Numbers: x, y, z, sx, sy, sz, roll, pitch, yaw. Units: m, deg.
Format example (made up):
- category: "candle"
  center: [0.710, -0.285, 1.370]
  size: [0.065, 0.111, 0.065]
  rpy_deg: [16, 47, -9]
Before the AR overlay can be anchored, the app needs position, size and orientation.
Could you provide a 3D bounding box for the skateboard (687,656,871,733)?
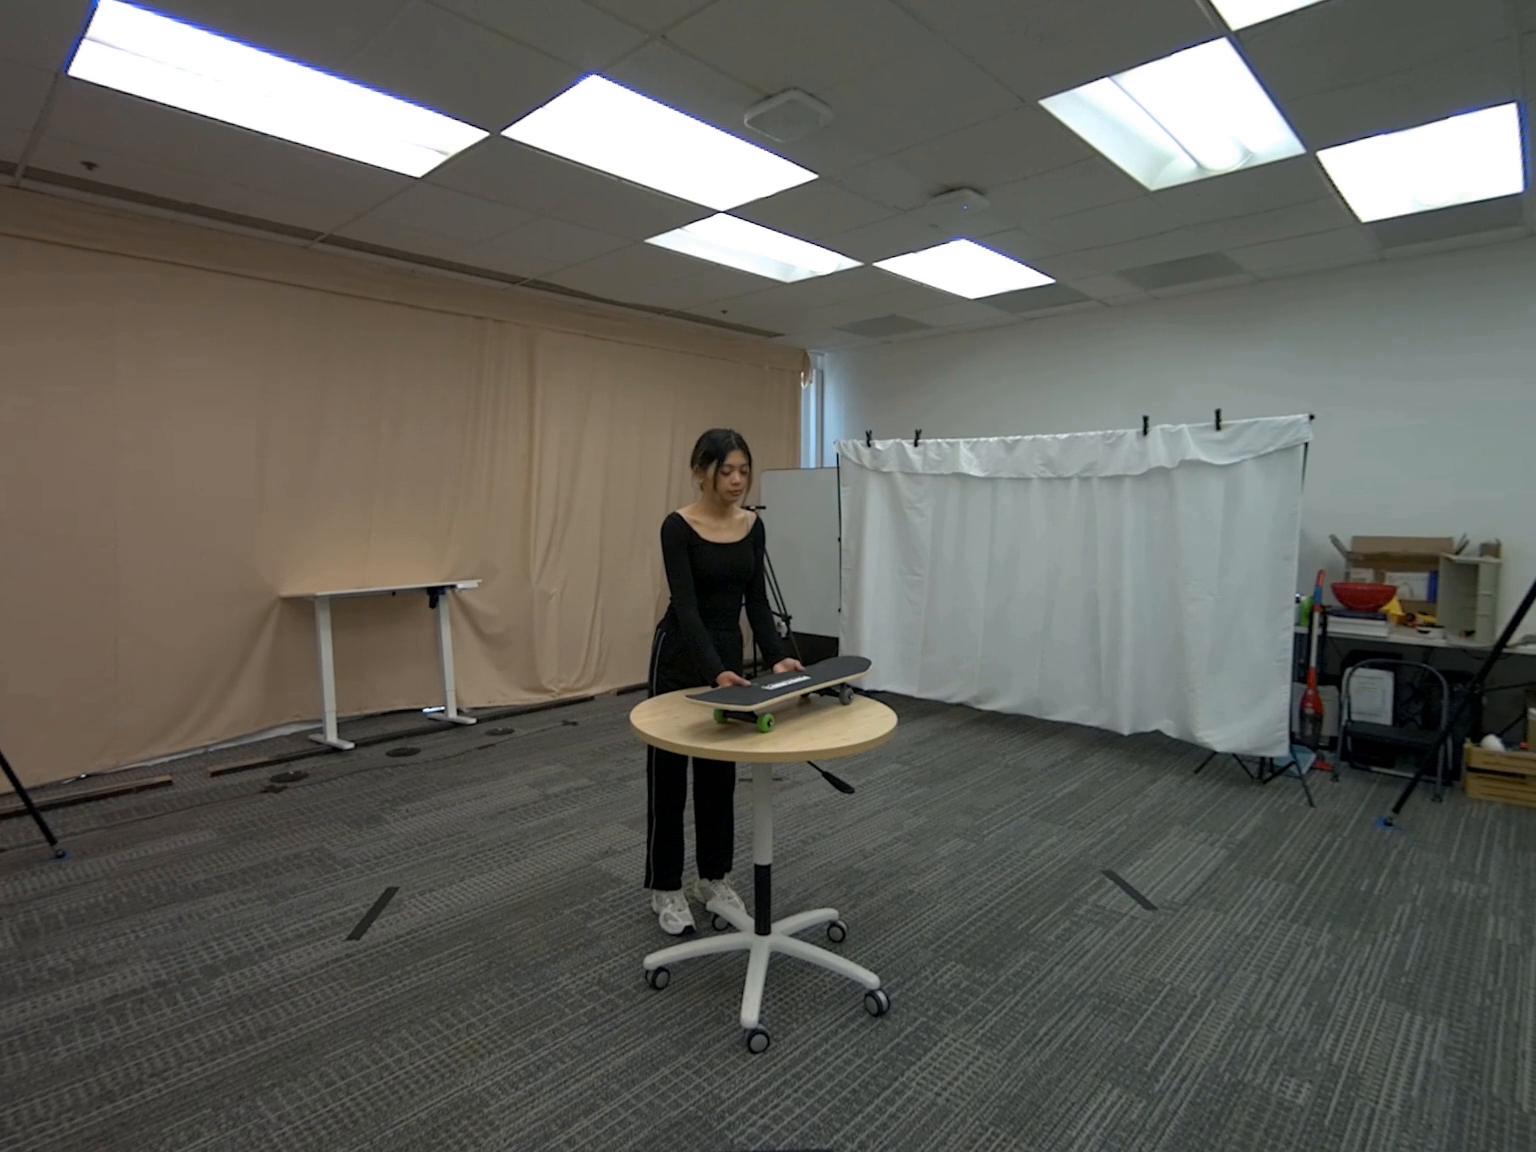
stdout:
- category: "skateboard"
  center: [0.054, 0.349, 2.435]
  size: [0.200, 0.110, 0.763]
  rpy_deg: [5, 7, 36]
